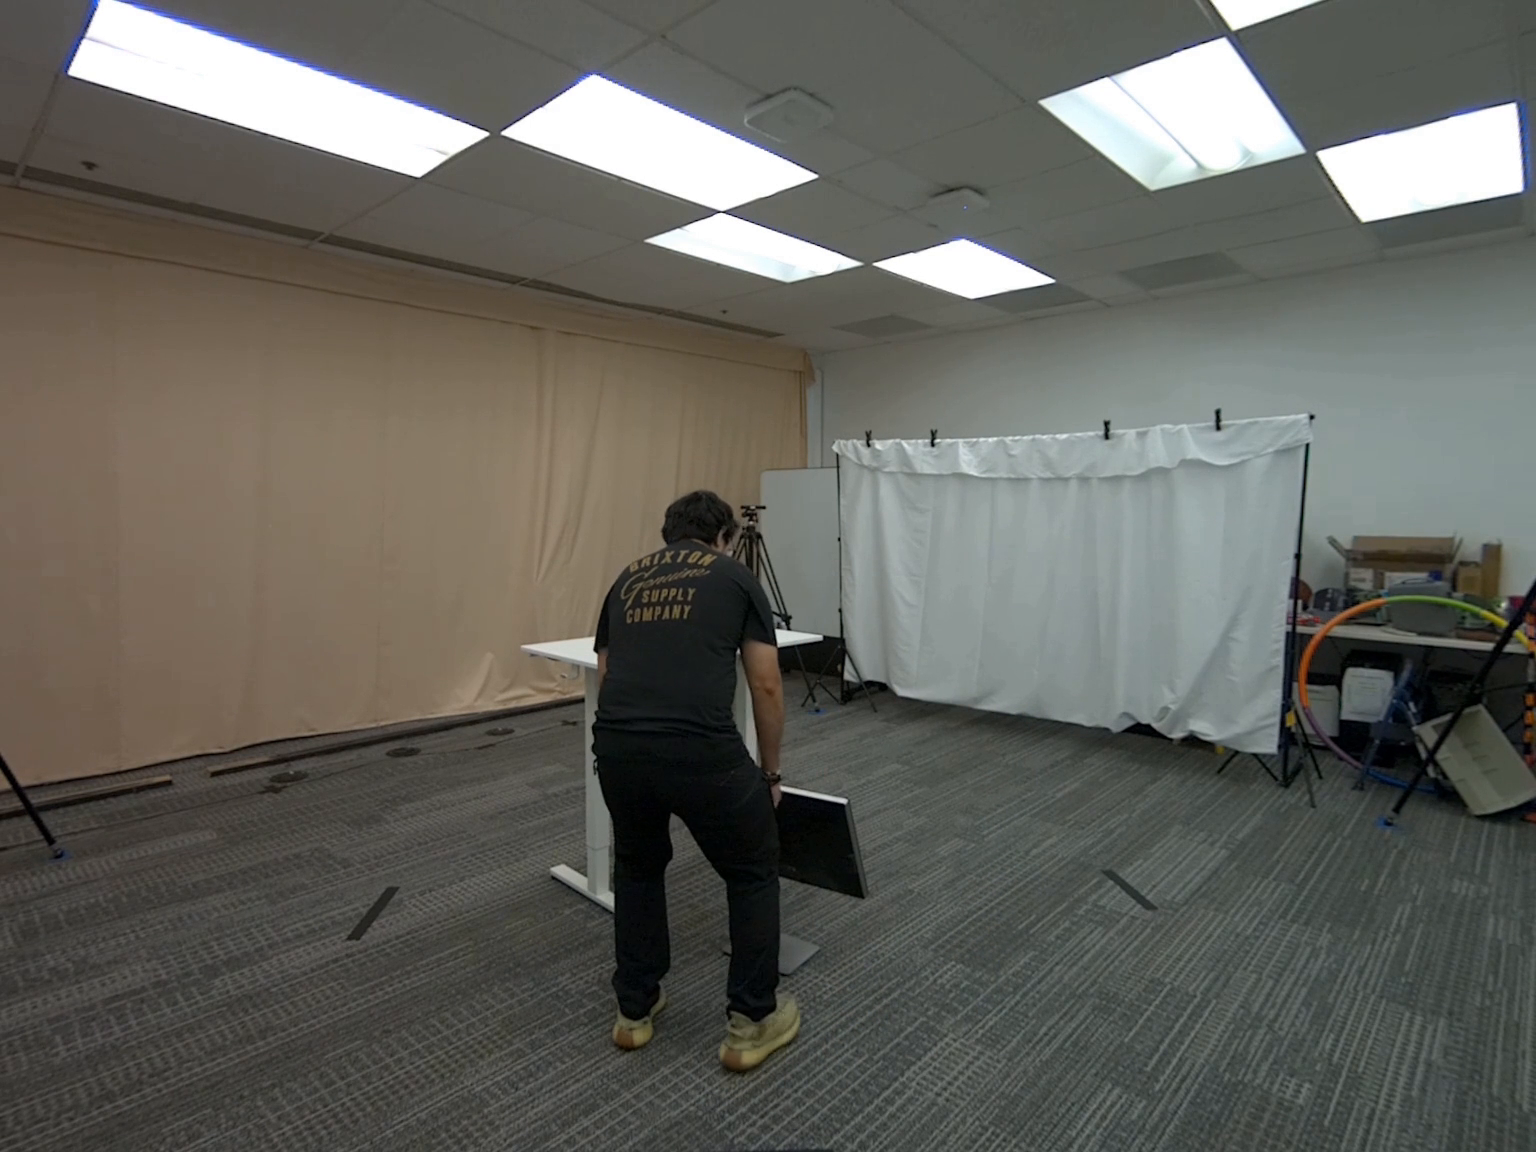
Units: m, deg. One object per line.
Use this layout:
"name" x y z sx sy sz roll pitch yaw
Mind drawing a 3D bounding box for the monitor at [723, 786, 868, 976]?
"monitor" 0.001 0.912 2.593 0.583 0.549 0.205 2 13 34
